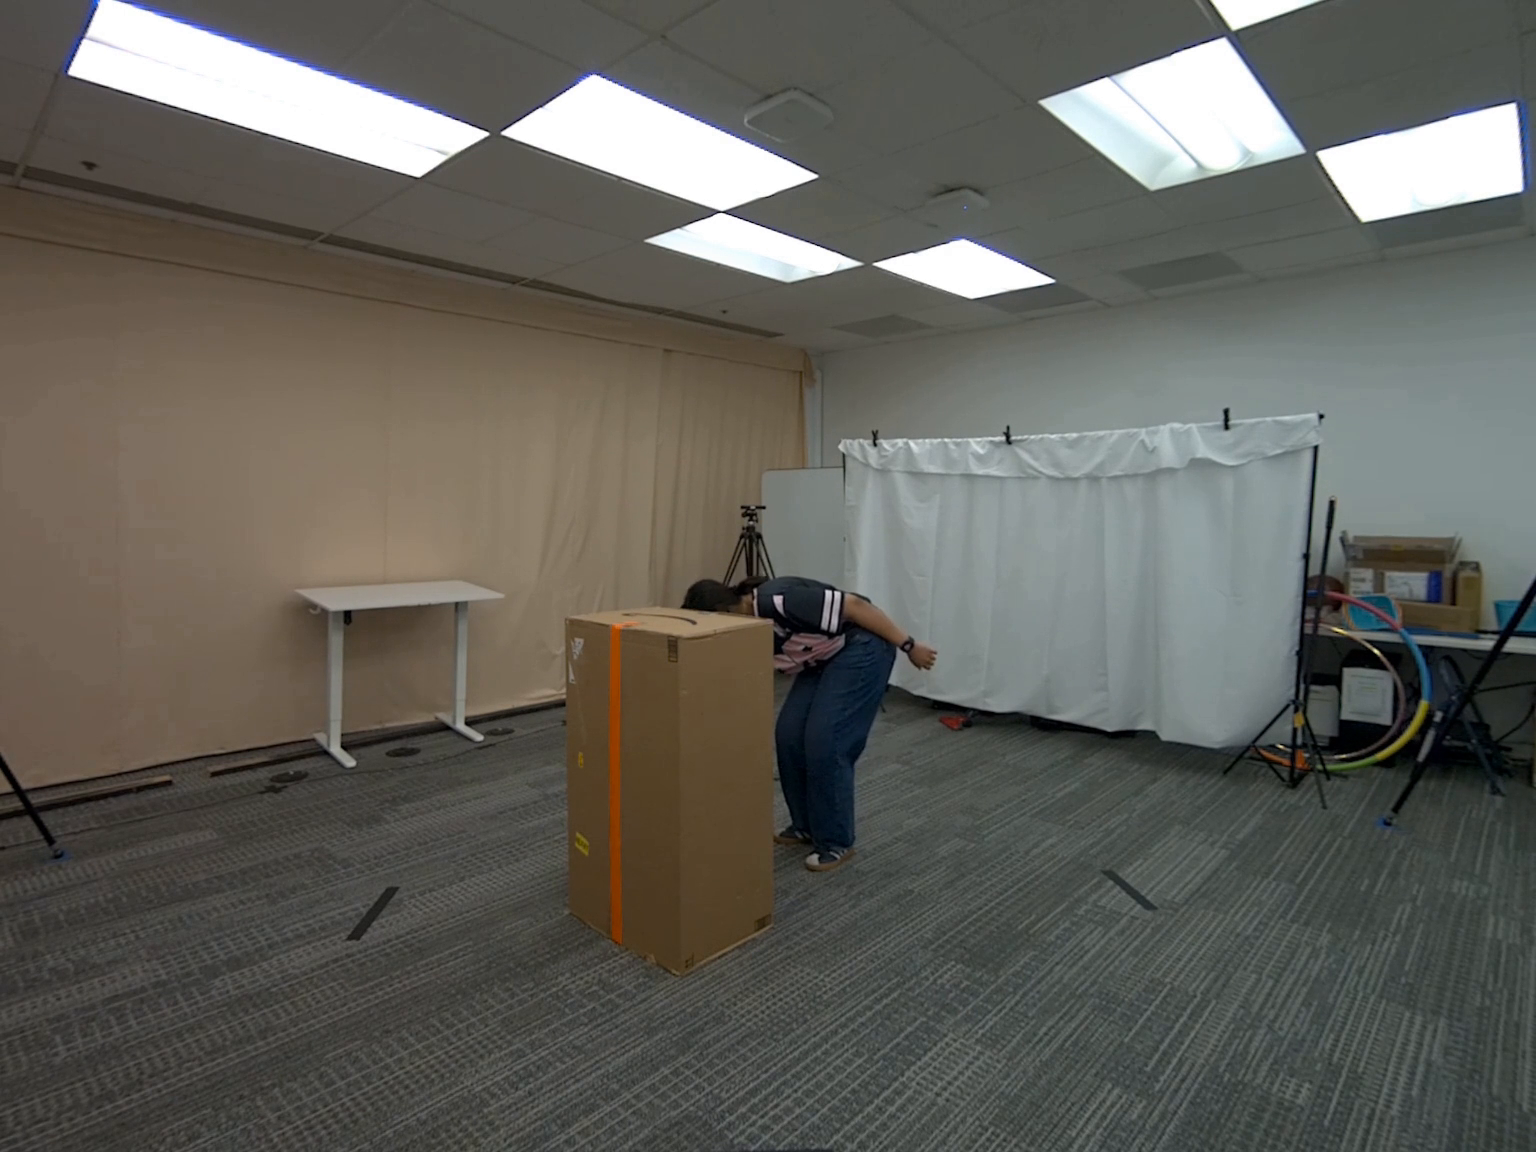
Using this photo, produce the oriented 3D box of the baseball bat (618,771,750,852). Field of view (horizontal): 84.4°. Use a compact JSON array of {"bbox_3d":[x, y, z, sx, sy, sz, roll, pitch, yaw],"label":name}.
[{"bbox_3d":[-0.351,0.967,3.499,0.542,0.088,0.089,-23,5,-2],"label":"baseball bat"}]
